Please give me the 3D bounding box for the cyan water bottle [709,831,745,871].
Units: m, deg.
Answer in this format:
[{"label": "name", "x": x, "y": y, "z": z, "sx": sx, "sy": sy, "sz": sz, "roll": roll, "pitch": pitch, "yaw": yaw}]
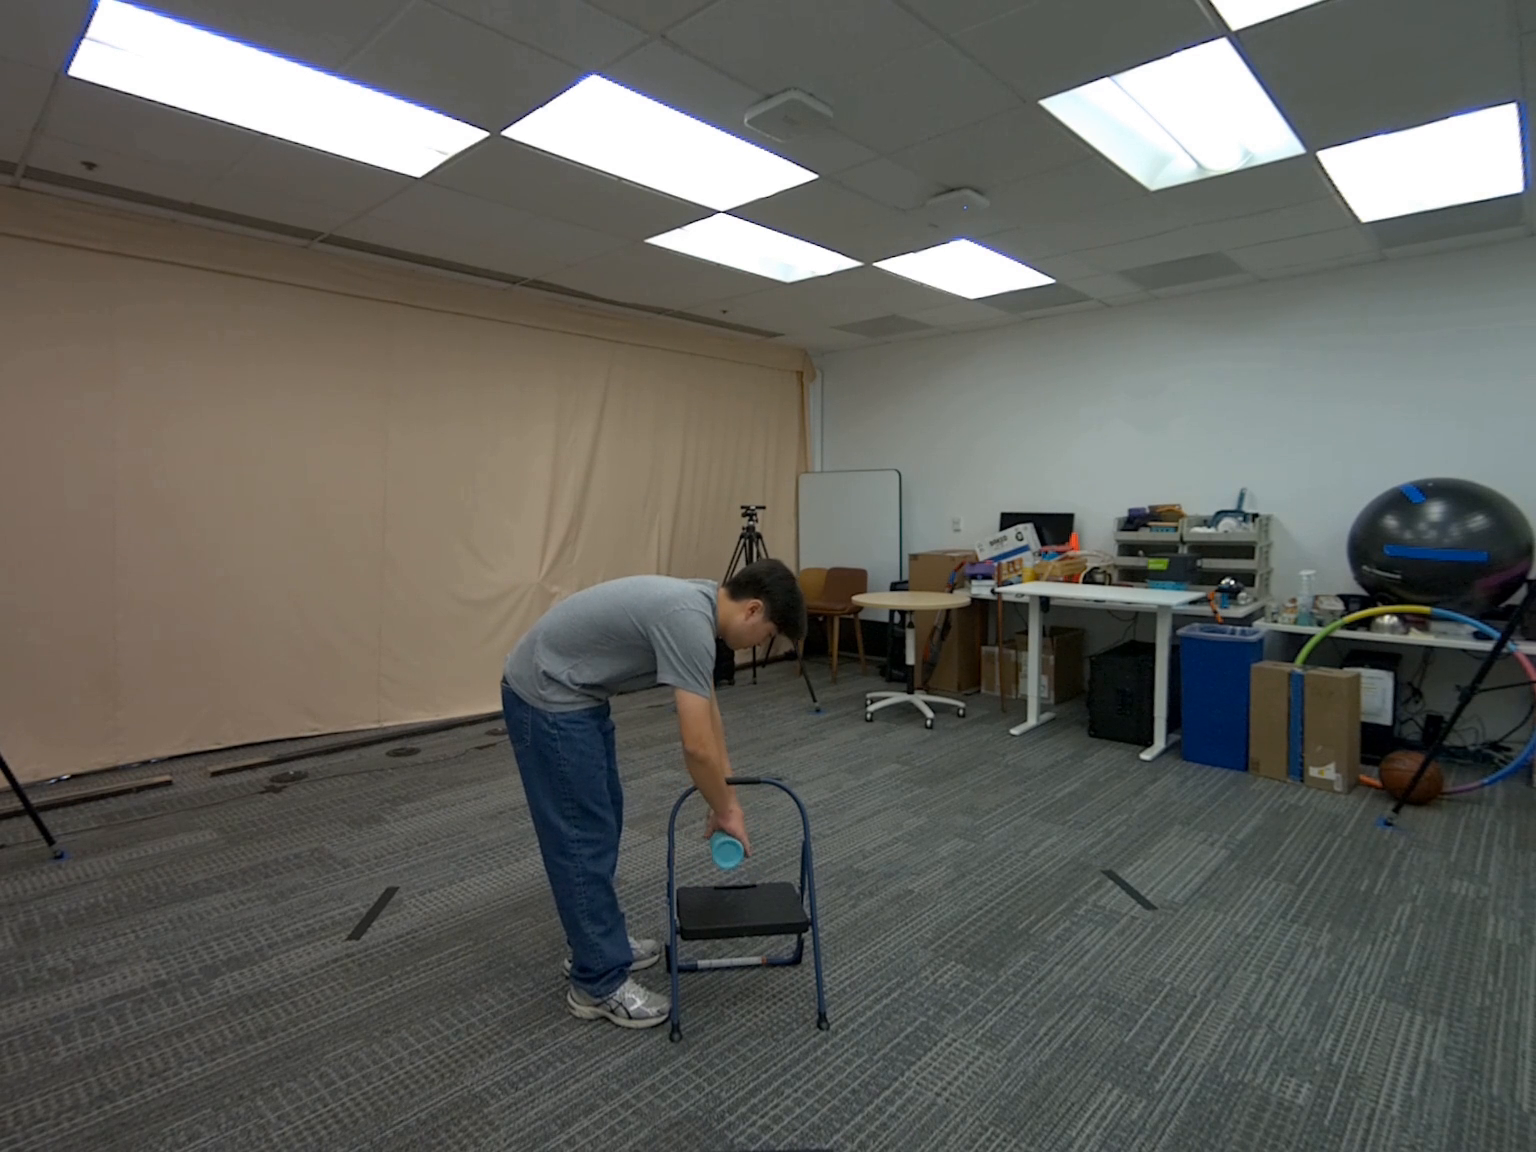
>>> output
[{"label": "cyan water bottle", "x": -0.141, "y": 0.743, "z": 2.408, "sx": 0.092, "sy": 0.092, "sz": 0.285, "roll": 0, "pitch": 7, "yaw": -5}]
